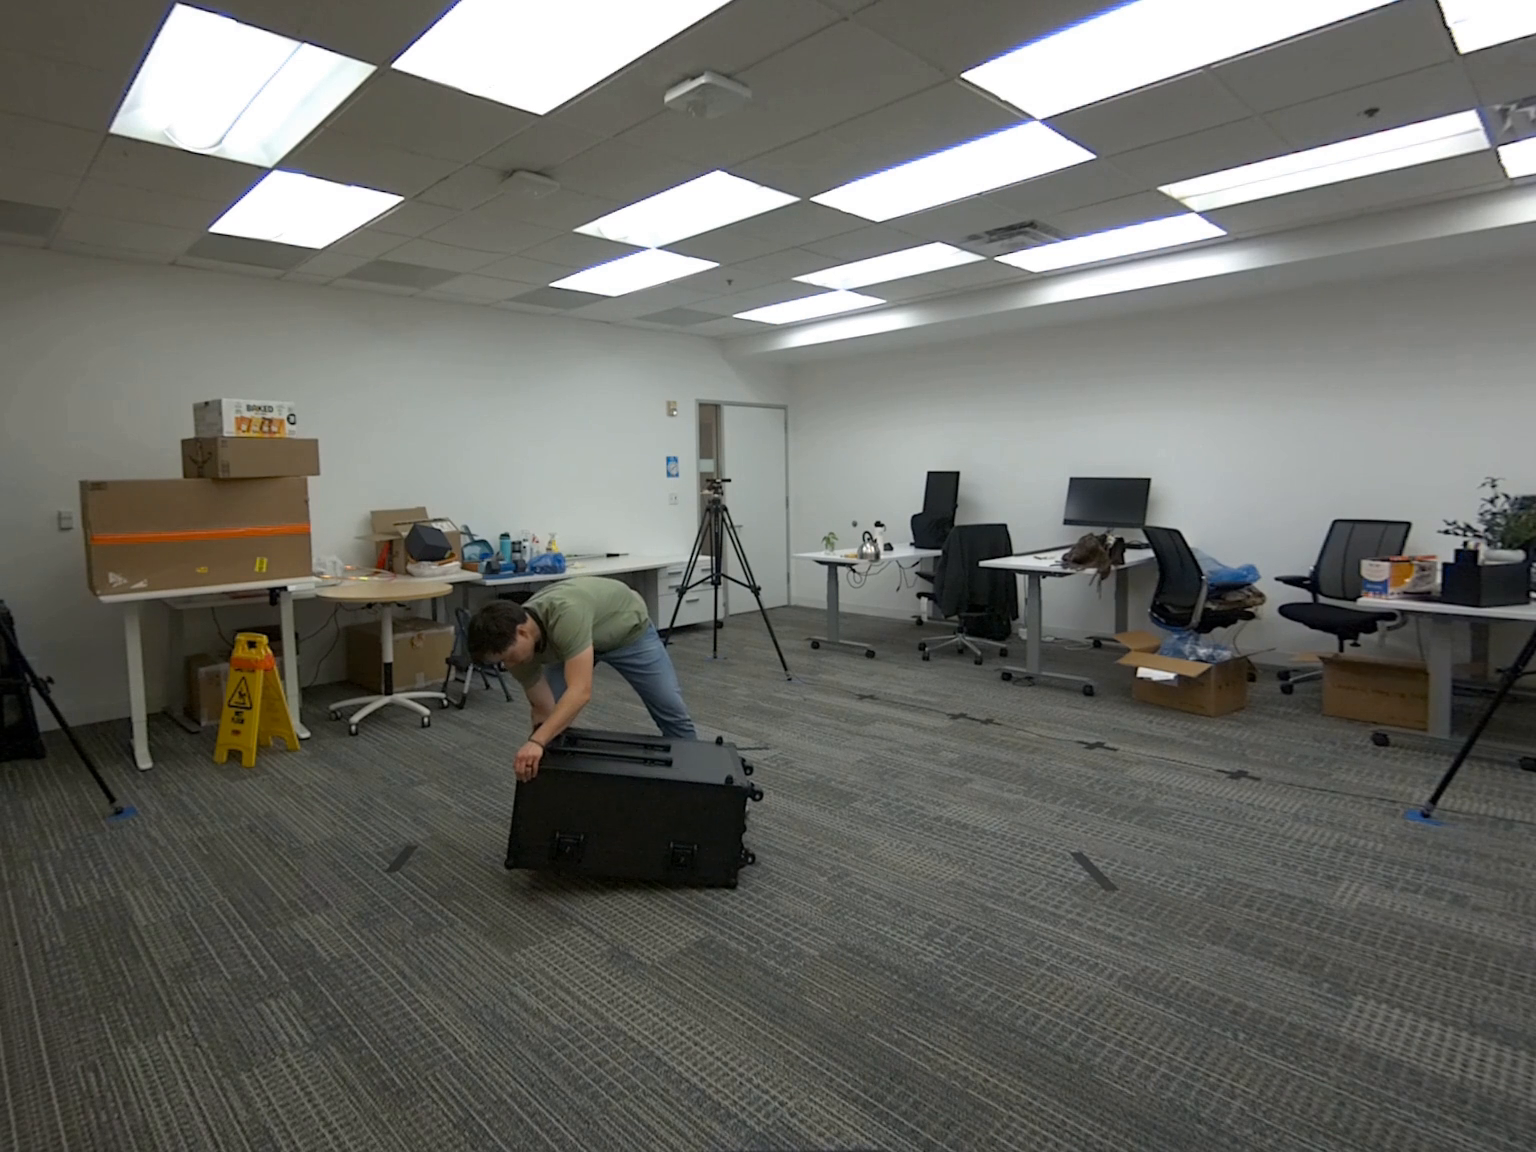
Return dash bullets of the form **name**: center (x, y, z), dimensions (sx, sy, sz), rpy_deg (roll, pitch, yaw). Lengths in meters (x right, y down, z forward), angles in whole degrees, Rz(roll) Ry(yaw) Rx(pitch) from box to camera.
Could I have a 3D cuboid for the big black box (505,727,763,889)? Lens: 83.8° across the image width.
- **big black box**: center (-0.461, 0.812, 3.101), dimensions (0.855, 0.395, 0.526), rpy_deg (8, 3, -7)
